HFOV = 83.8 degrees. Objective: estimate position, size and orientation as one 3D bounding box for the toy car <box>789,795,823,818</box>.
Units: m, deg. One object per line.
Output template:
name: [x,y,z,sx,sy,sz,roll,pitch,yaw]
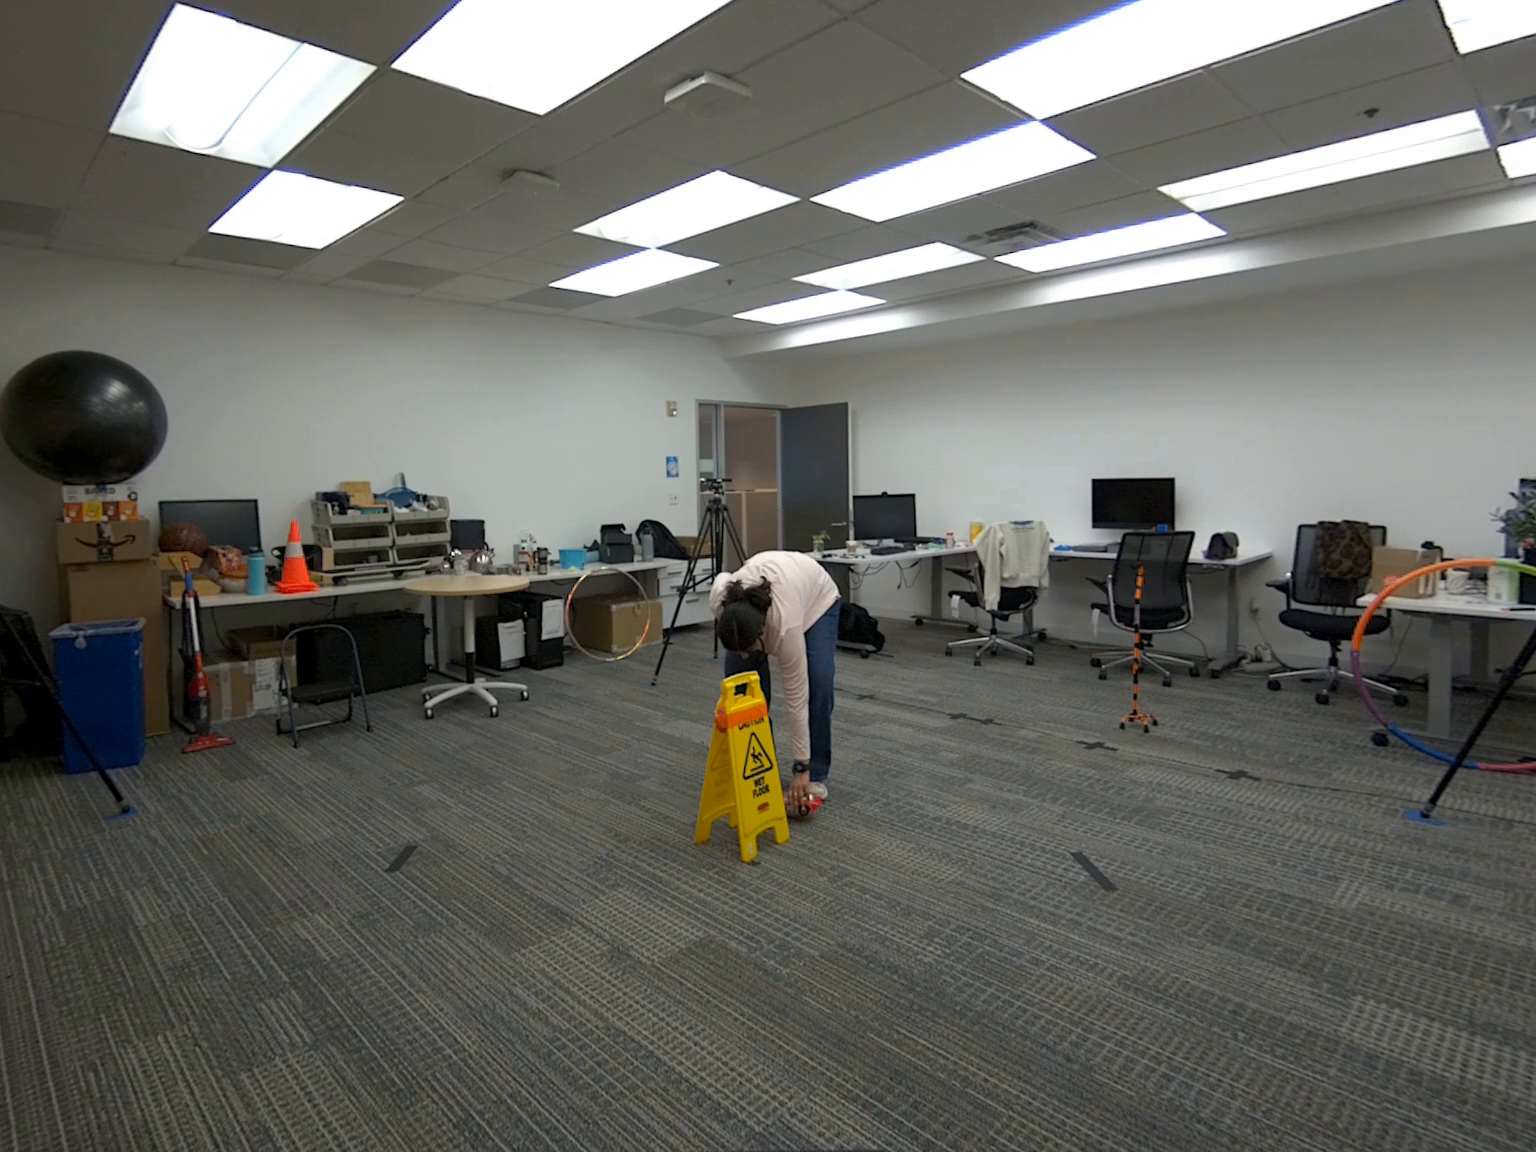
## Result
toy car: [0.096,0.943,3.511,0.257,0.083,0.129,-8,4,14]
